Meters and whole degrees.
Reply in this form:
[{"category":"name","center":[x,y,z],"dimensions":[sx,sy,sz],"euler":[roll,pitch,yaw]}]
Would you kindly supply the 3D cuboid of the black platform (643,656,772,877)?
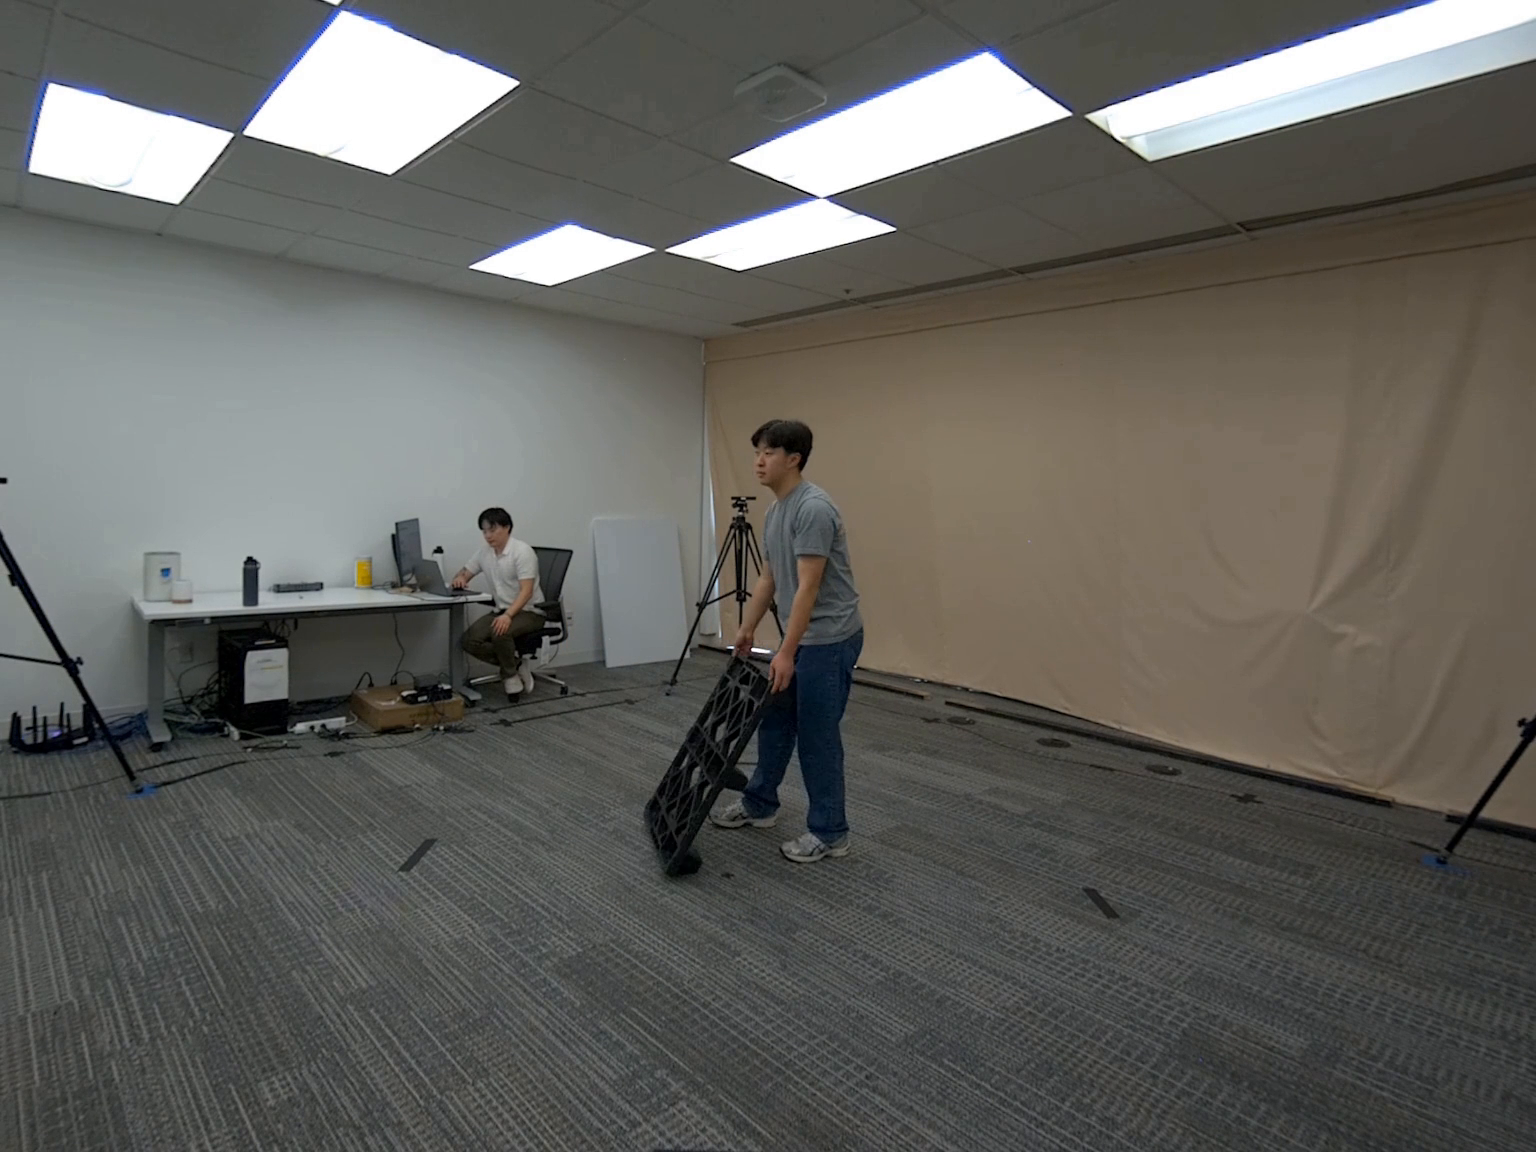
[{"category":"black platform","center":[-0.210,0.732,3.340],"dimensions":[0.141,0.806,0.613],"euler":[30,-3,-15]}]
